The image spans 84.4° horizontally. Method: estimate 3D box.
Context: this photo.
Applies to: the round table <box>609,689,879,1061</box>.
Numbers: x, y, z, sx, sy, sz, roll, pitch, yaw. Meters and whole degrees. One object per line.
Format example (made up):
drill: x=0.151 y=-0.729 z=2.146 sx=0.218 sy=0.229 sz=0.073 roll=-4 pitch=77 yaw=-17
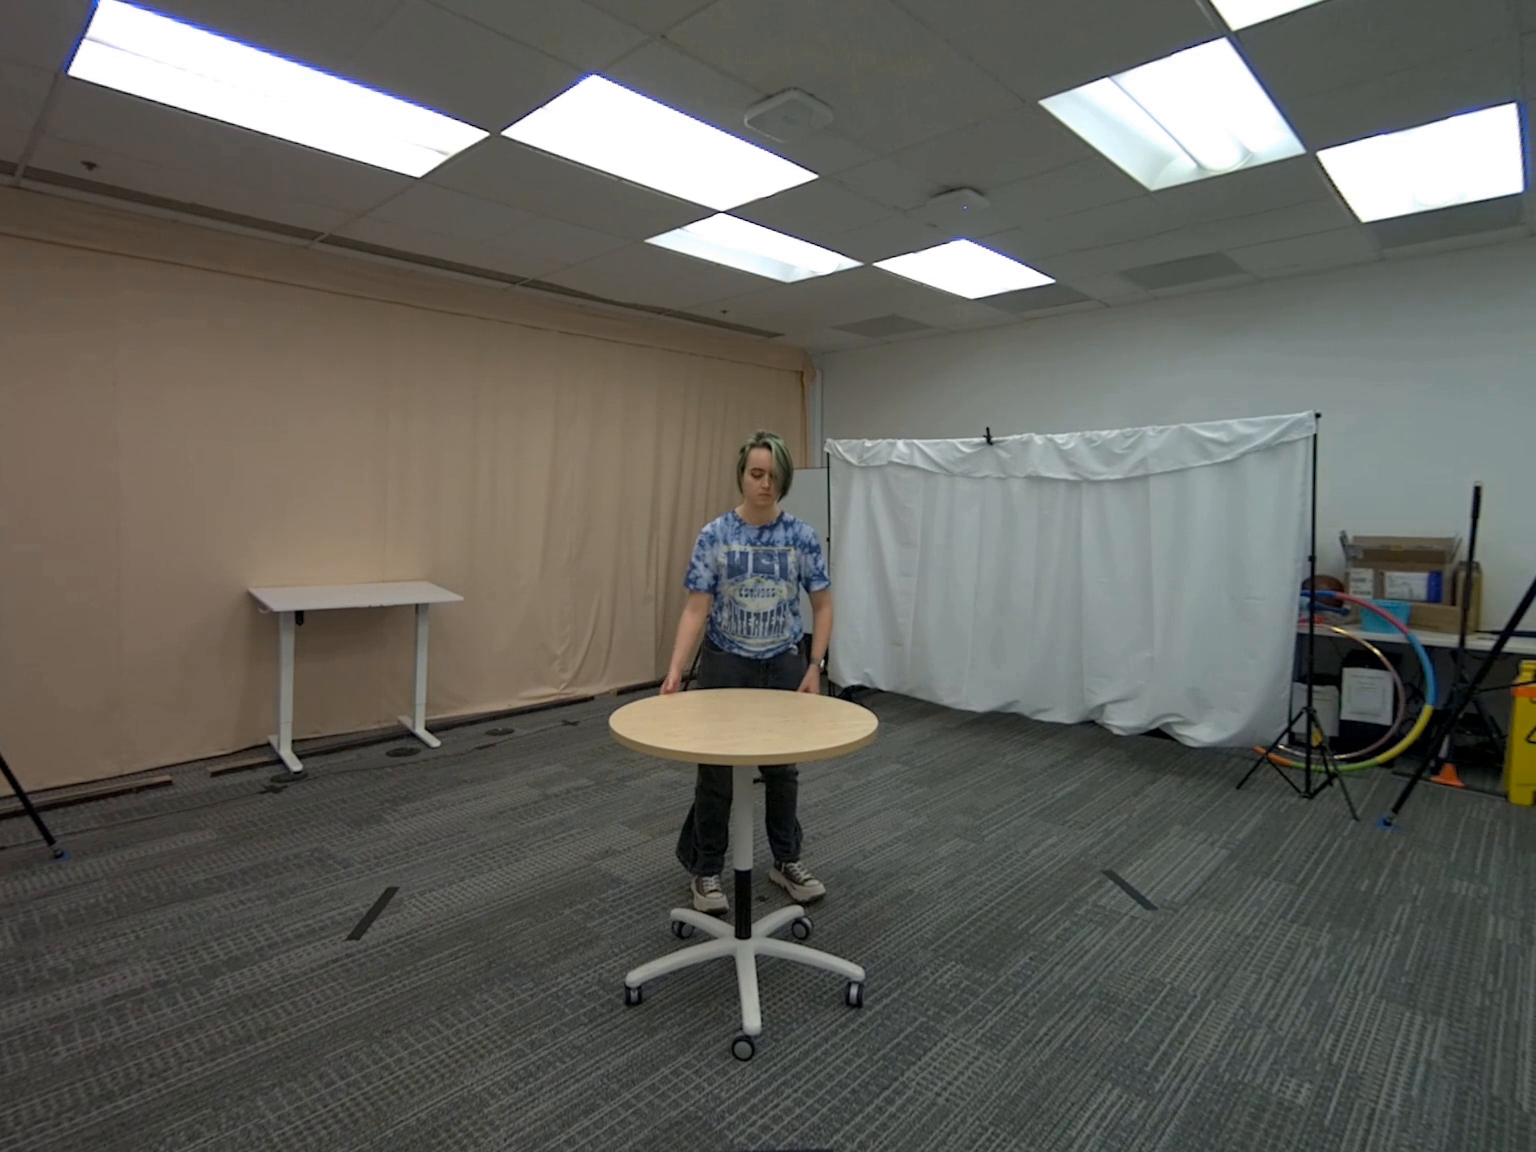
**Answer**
round table: x=-0.073 y=0.798 z=2.441 sx=0.763 sy=0.792 sz=0.766 roll=0 pitch=3 yaw=-2
